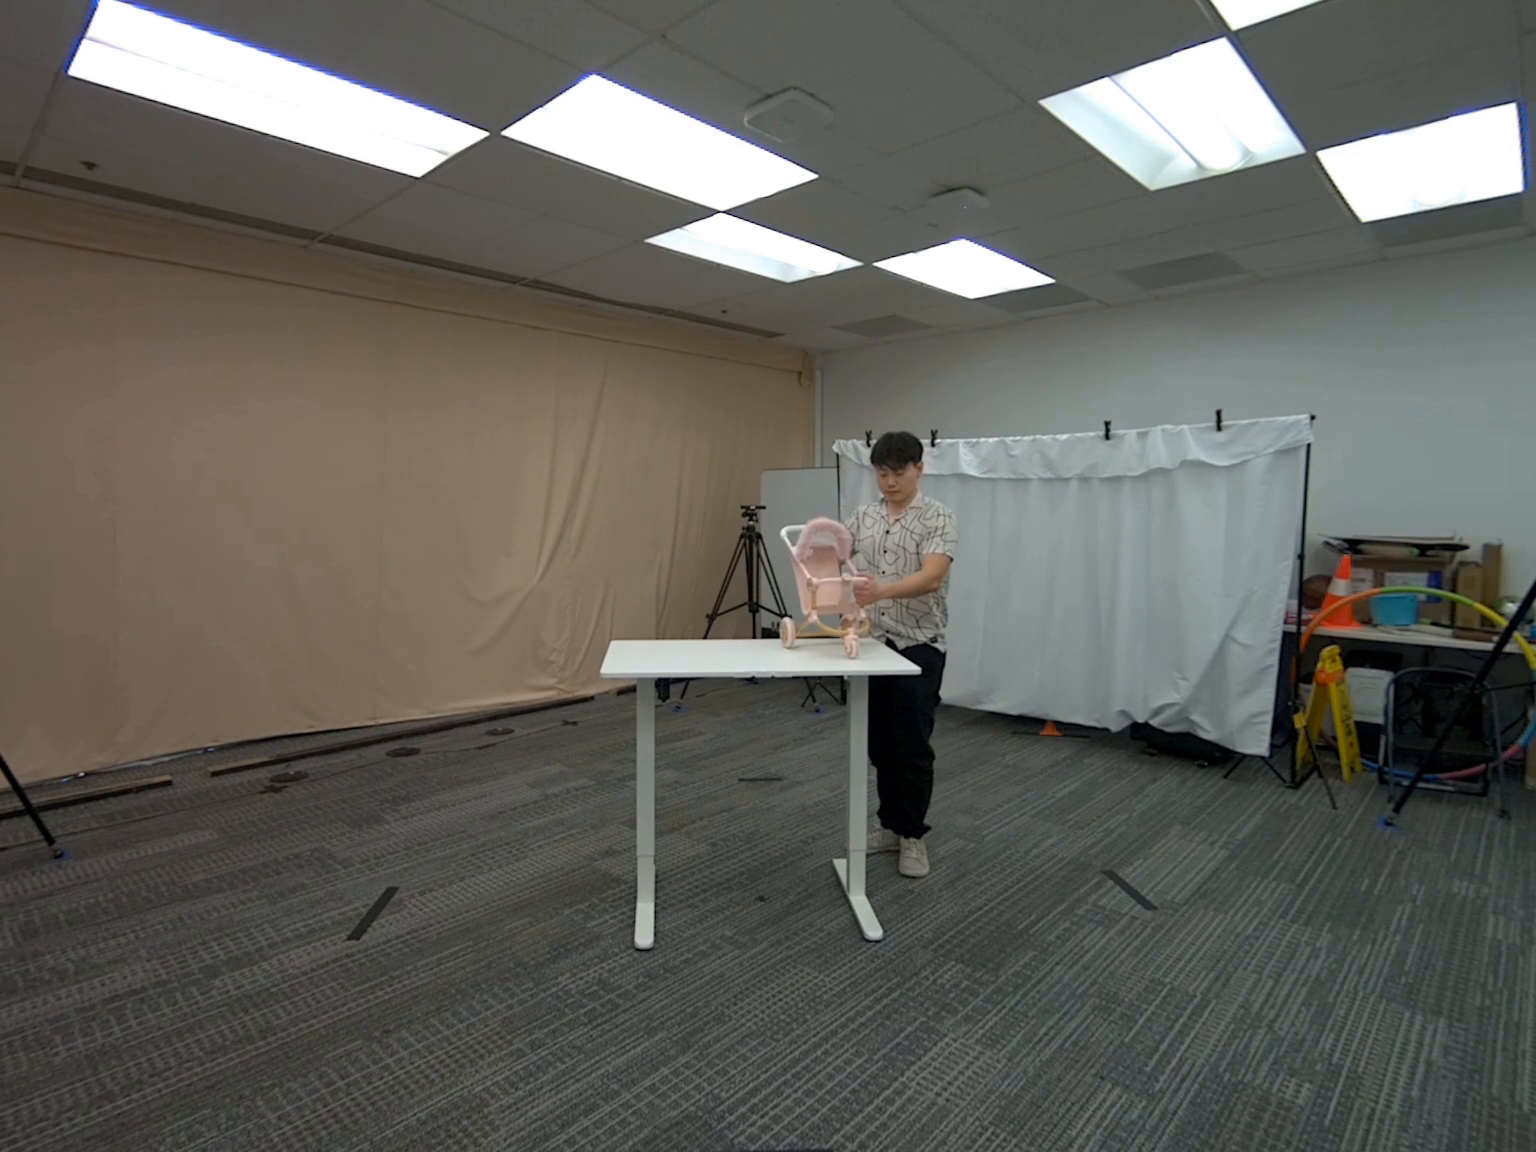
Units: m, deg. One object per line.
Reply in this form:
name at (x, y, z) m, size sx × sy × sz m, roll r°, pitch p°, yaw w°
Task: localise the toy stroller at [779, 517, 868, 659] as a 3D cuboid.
toy stroller at (0.210, 0.041, 2.975) m, size 0.277 × 0.539 × 0.344 m, roll -2°, pitch -10°, yaw -17°
